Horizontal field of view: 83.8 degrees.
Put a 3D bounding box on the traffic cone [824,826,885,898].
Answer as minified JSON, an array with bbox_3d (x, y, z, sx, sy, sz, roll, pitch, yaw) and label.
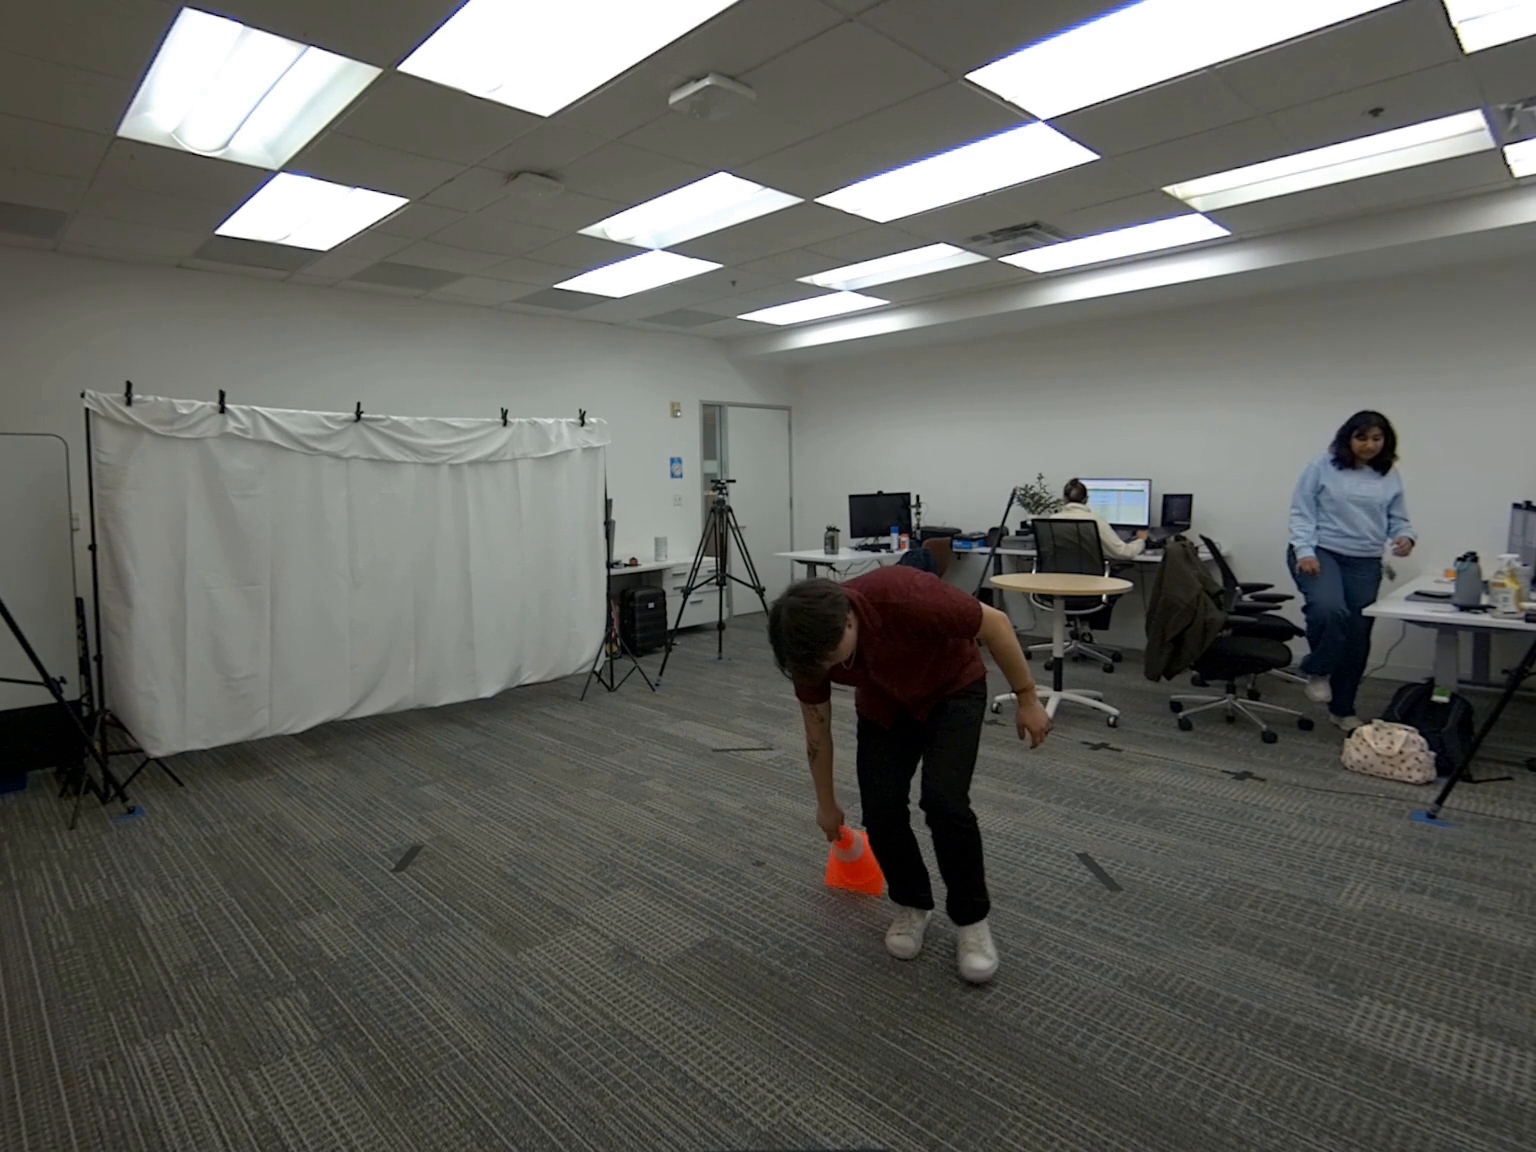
[{"bbox_3d":[0.274,0.884,2.787,0.210,0.205,0.370,14,-27,23],"label":"traffic cone"}]
